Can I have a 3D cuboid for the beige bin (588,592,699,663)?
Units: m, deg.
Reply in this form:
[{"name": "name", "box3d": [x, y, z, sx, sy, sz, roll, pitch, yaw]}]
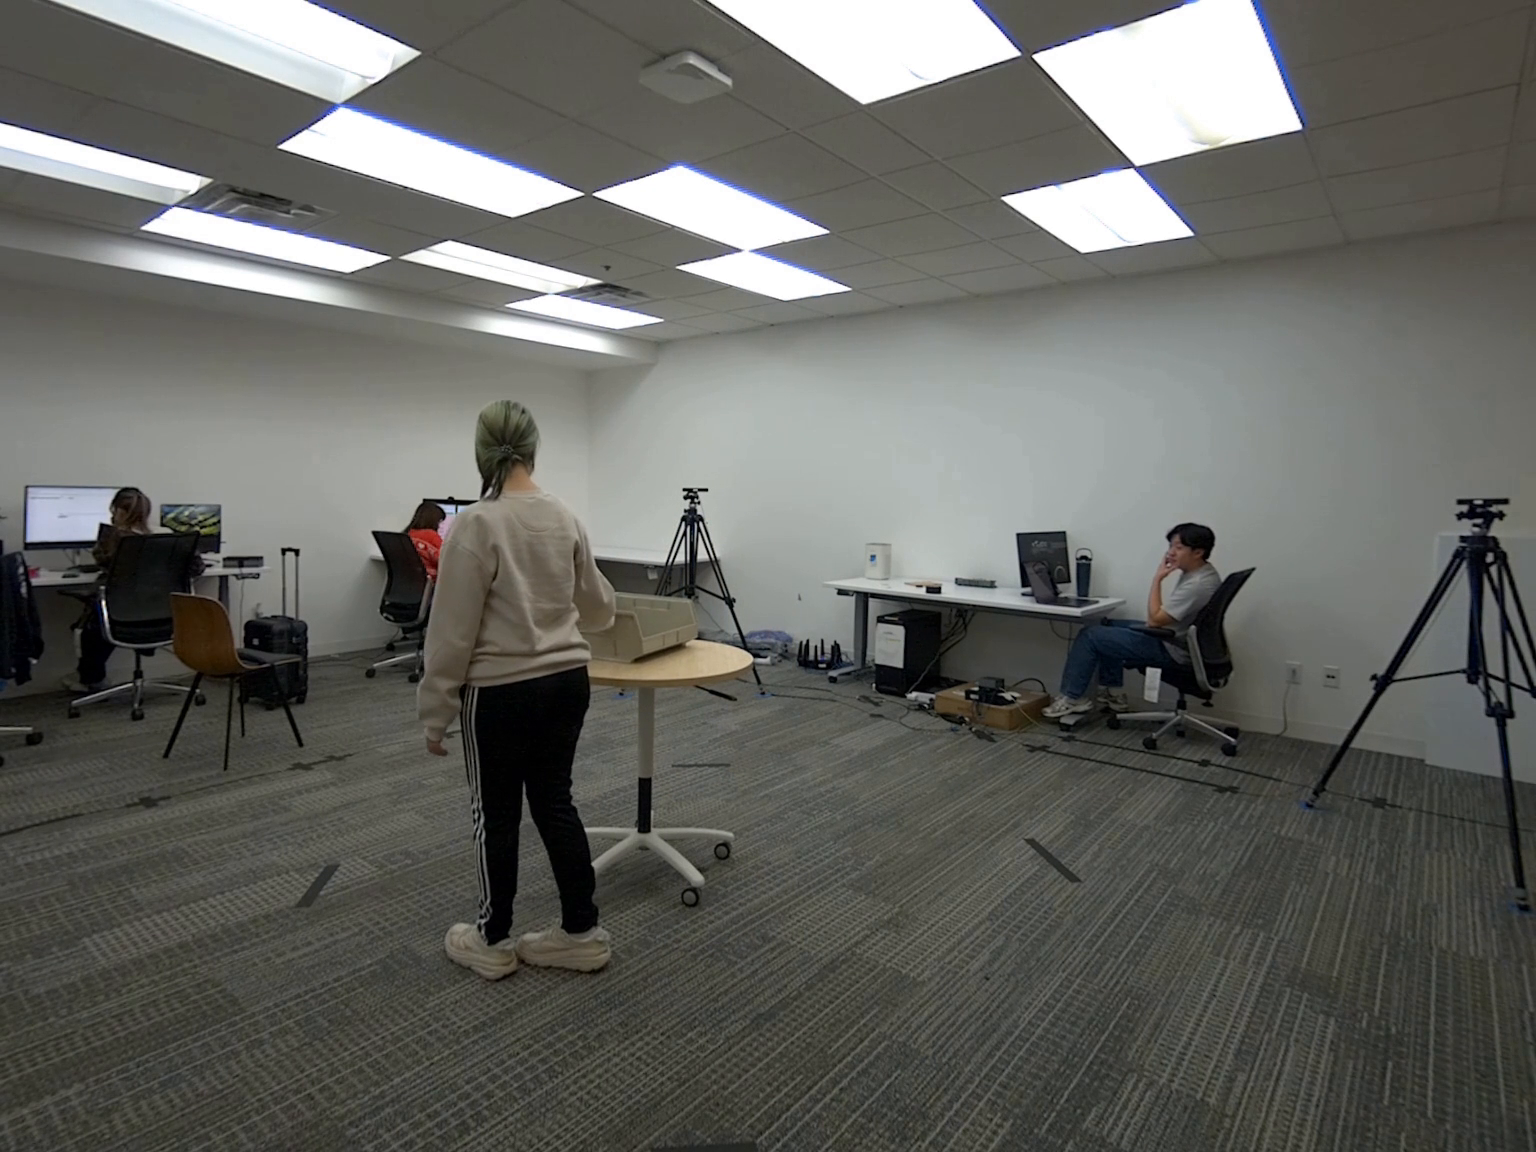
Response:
[{"name": "beige bin", "box3d": [-0.525, 0.185, 3.158, 0.387, 0.188, 0.413, 2, 5, 24]}]
